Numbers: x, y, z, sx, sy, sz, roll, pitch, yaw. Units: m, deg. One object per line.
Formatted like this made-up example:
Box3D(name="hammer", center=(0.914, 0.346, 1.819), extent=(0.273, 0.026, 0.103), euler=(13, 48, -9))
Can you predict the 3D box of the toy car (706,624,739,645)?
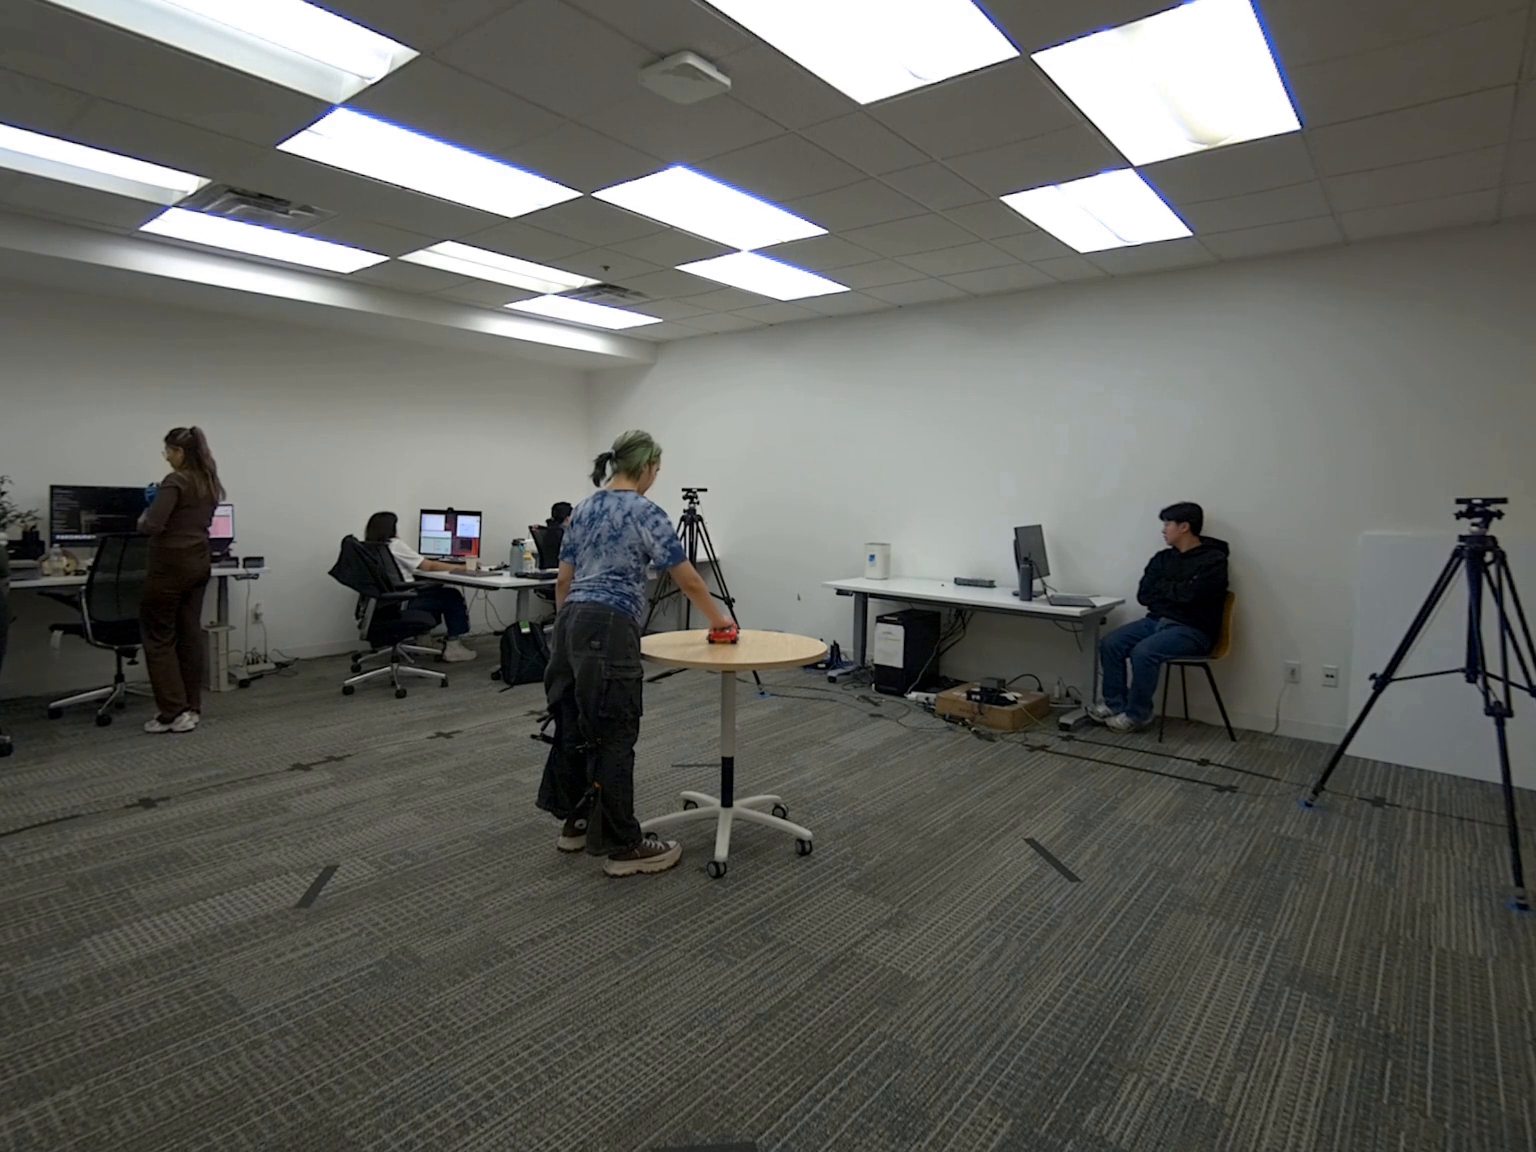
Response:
Box3D(name="toy car", center=(-0.192, 0.224, 3.452), extent=(0.130, 0.082, 0.258), euler=(-1, 18, 1))
